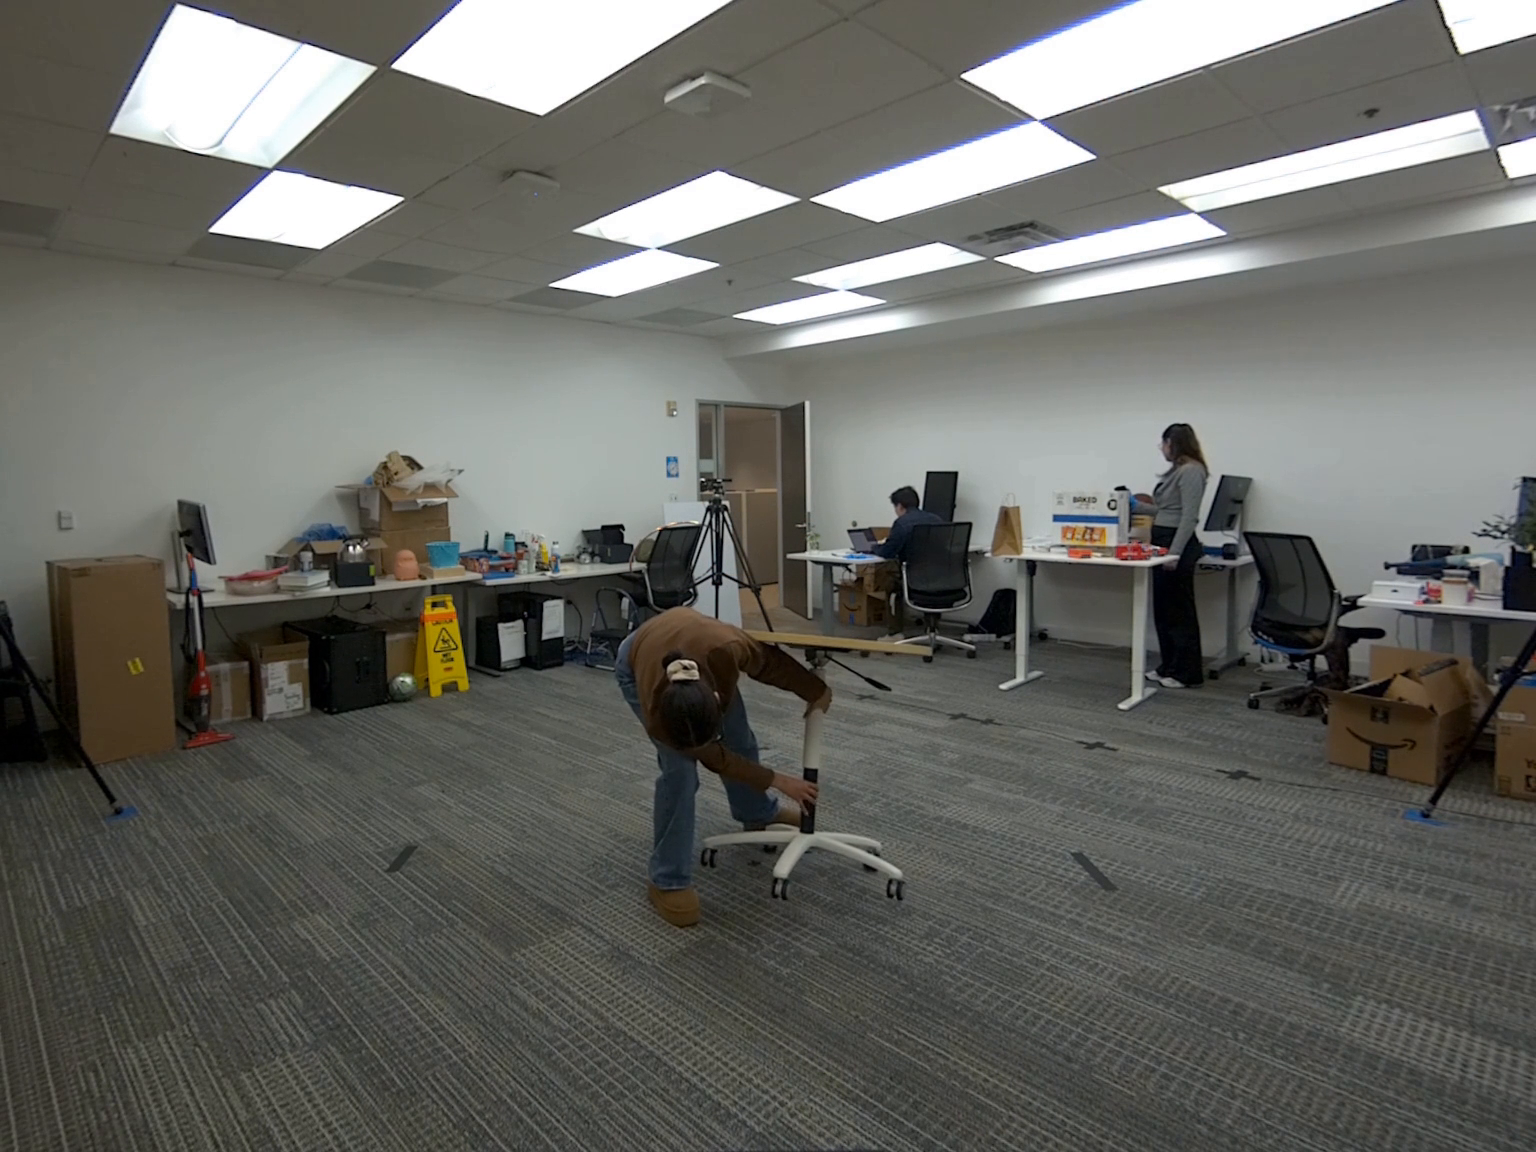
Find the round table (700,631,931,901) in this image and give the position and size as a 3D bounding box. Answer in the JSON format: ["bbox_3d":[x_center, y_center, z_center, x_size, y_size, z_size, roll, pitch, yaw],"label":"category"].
[{"bbox_3d":[0.159,0.621,2.921,0.764,0.798,0.760,5,-6,-1],"label":"round table"}]
